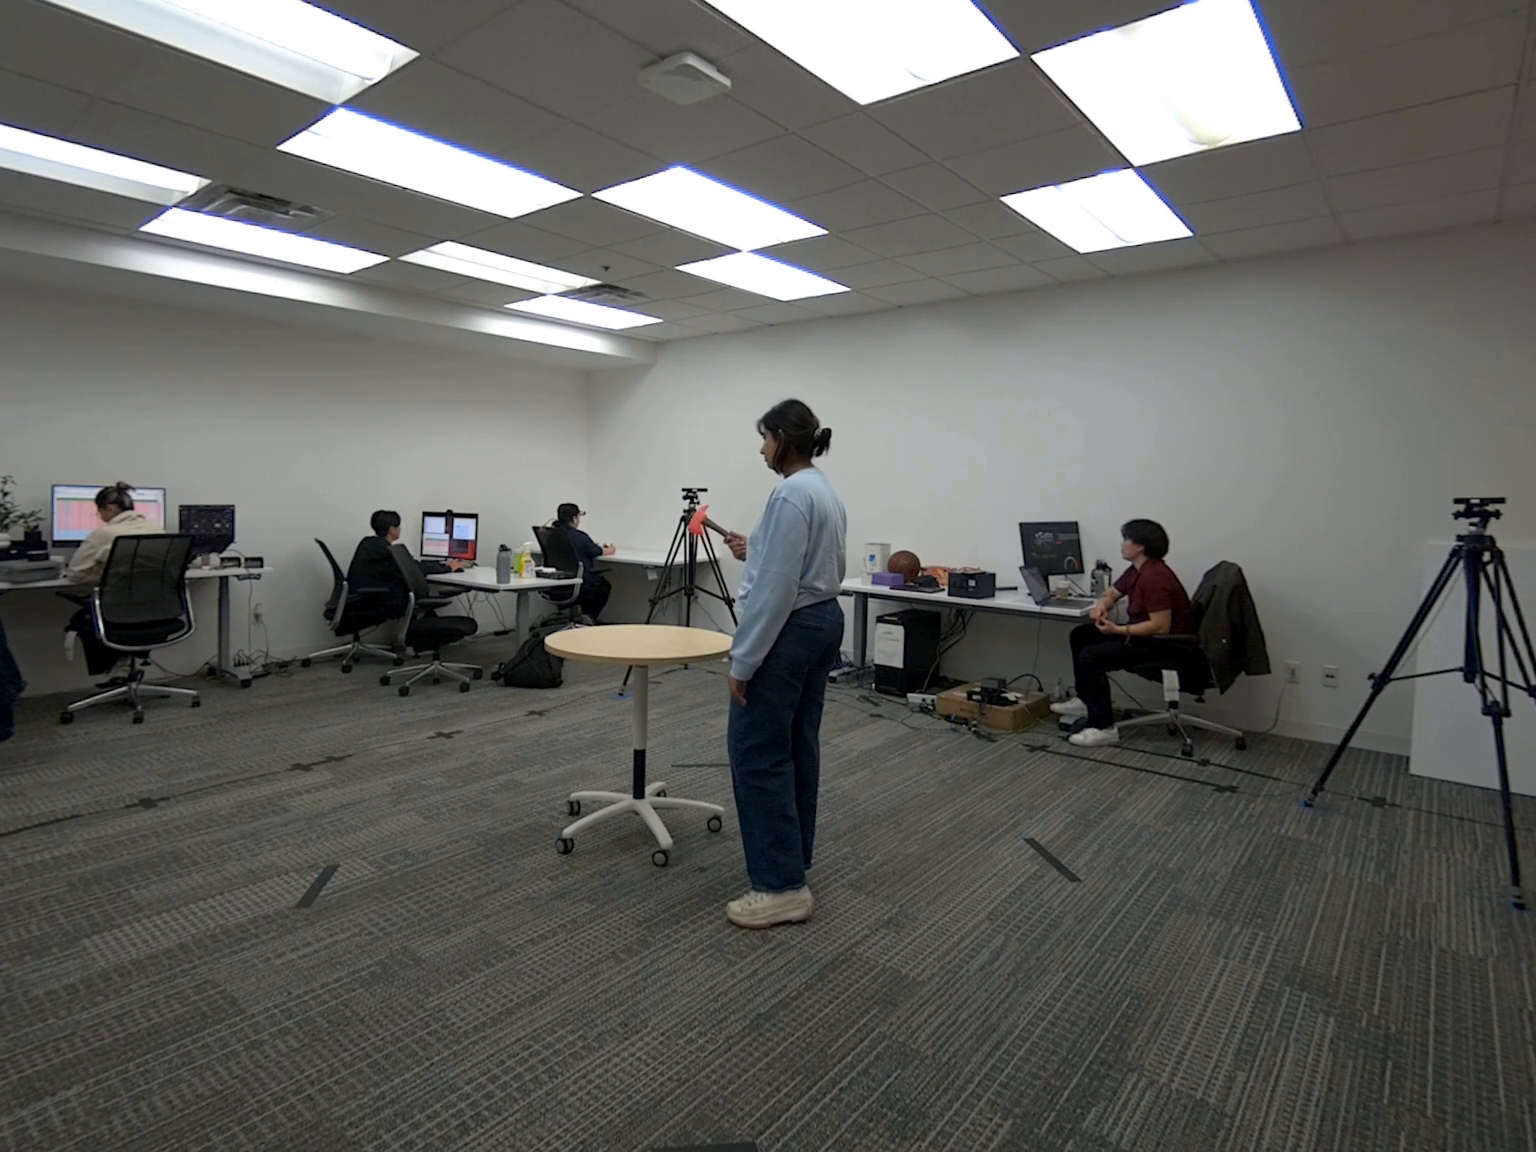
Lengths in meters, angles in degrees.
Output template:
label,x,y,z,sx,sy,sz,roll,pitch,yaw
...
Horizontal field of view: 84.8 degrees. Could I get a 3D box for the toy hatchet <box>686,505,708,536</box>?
label,x,y,z,sx,sy,sz,roll,pitch,yaw
toy hatchet,-0.193,-0.143,3.122,0.130,0.276,0.029,-36,-16,-23
